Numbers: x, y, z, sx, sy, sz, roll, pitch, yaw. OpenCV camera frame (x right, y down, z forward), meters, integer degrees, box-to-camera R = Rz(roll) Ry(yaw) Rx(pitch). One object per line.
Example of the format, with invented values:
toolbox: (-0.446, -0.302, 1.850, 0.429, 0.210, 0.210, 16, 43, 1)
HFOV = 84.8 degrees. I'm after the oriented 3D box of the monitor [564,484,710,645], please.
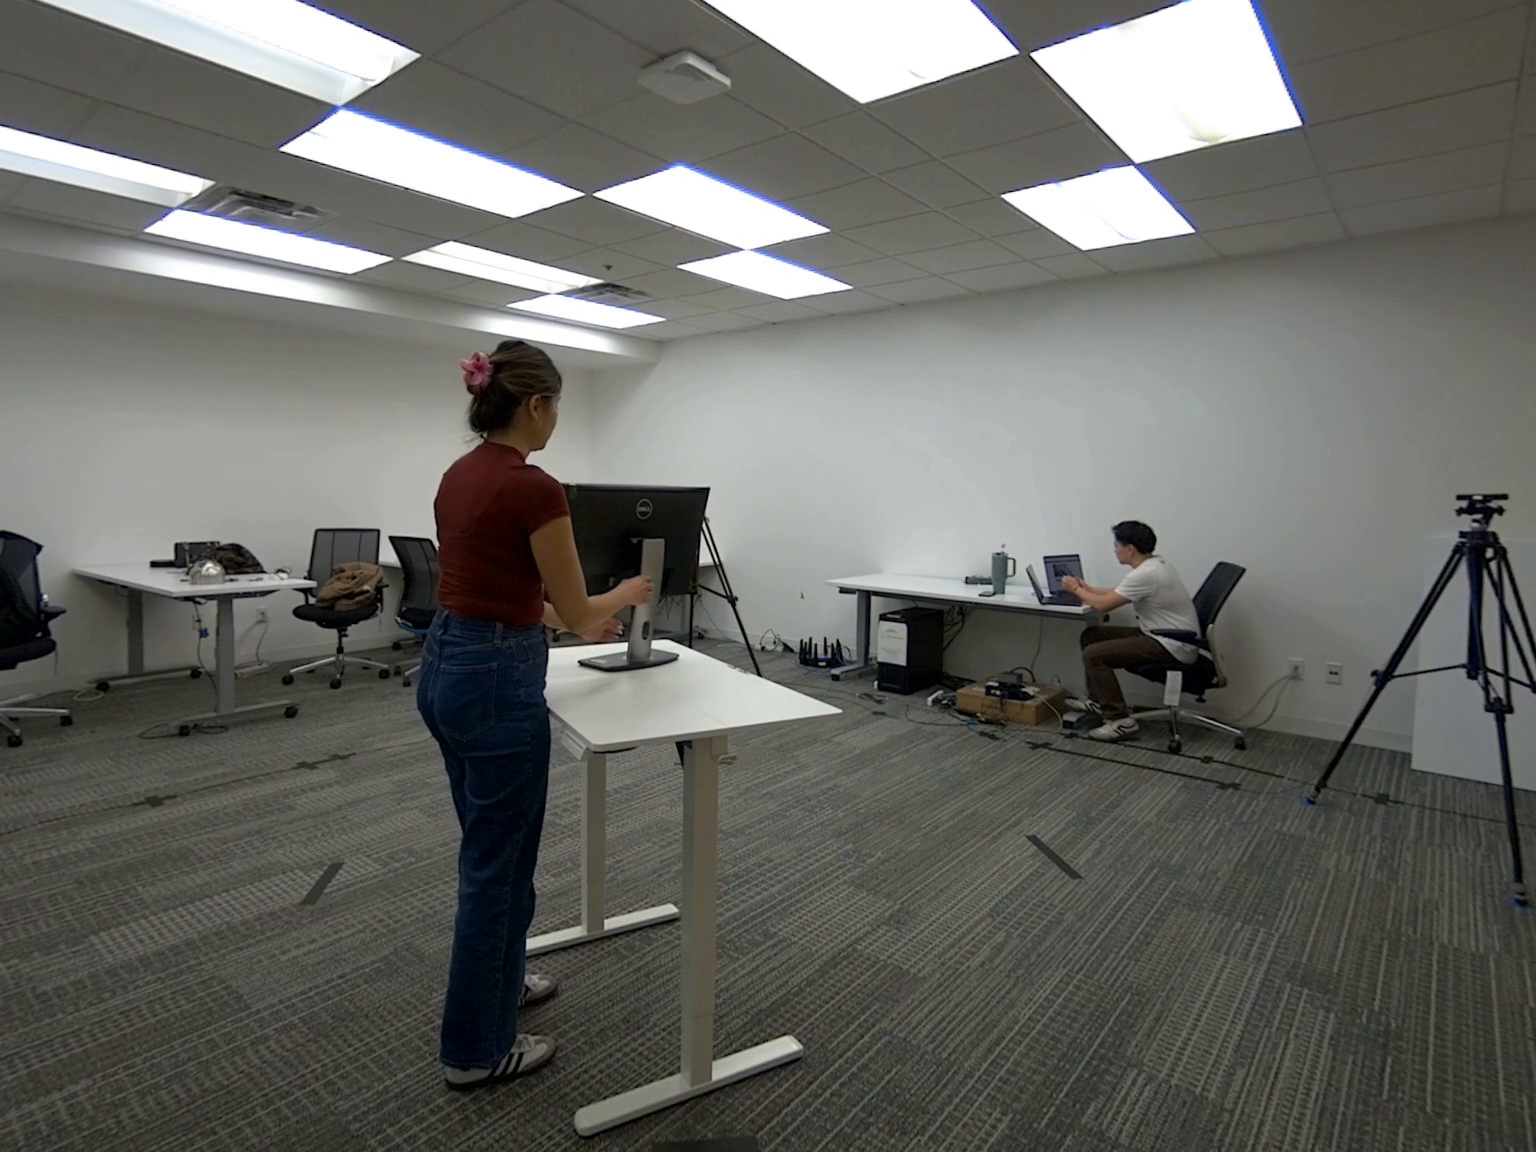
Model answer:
monitor: (-0.394, -0.002, 2.440, 0.194, 0.520, 0.523, 7, 7, 42)
